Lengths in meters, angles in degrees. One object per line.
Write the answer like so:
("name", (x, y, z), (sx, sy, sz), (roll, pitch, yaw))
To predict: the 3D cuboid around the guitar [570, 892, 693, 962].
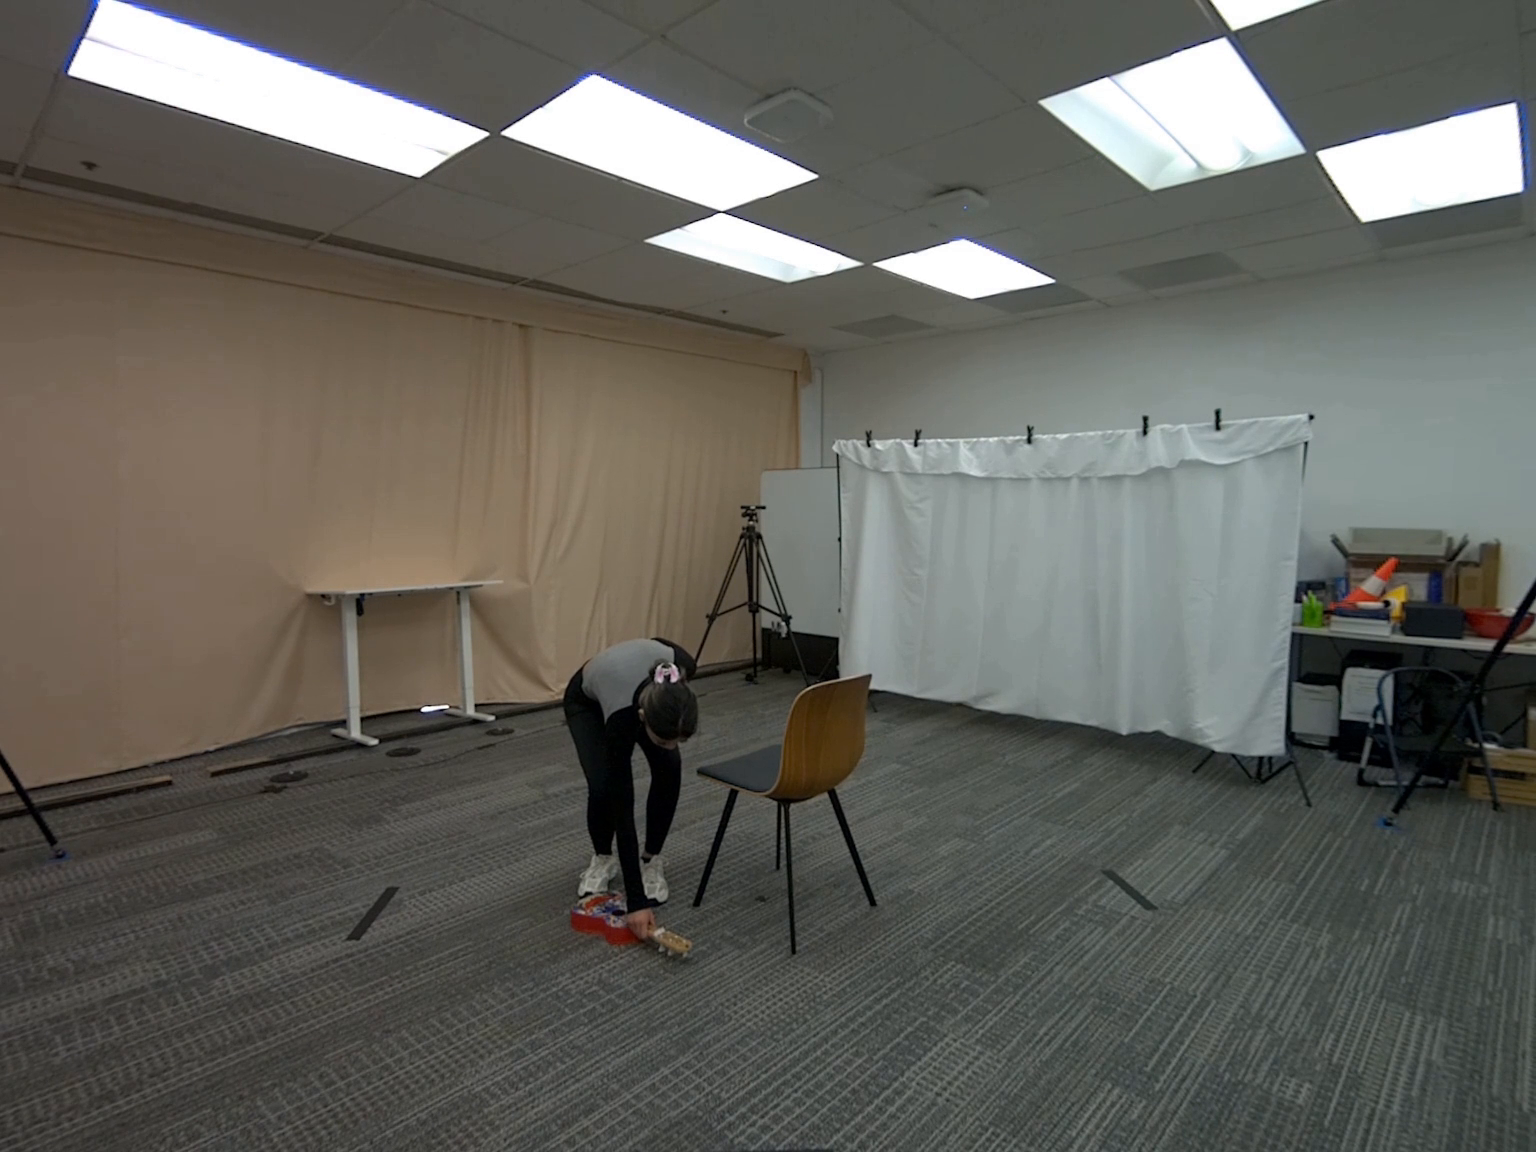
("guitar", (-0.454, 1.137, 2.696), (0.187, 0.070, 0.514), (-6, 7, -39))
